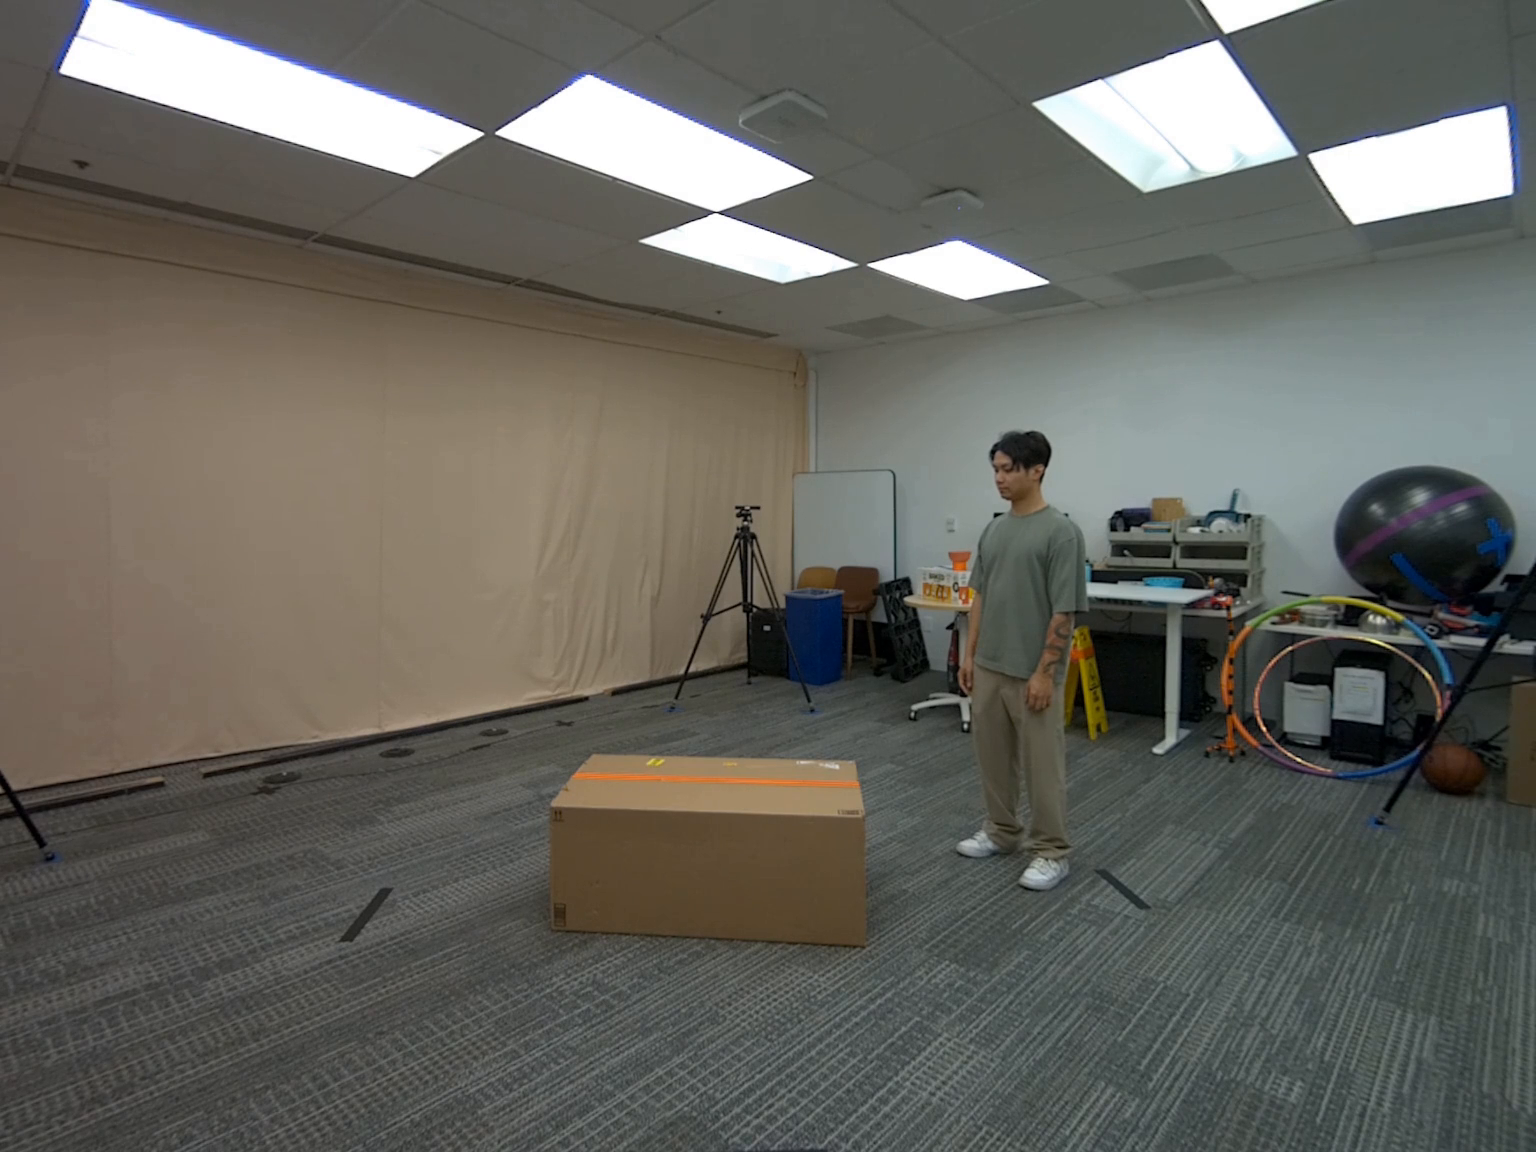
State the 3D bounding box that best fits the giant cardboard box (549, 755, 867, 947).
[{"bbox_3d":[-0.190,0.930,2.977,1.032,0.425,0.575,0,5,5],"label":"giant cardboard box"}]
